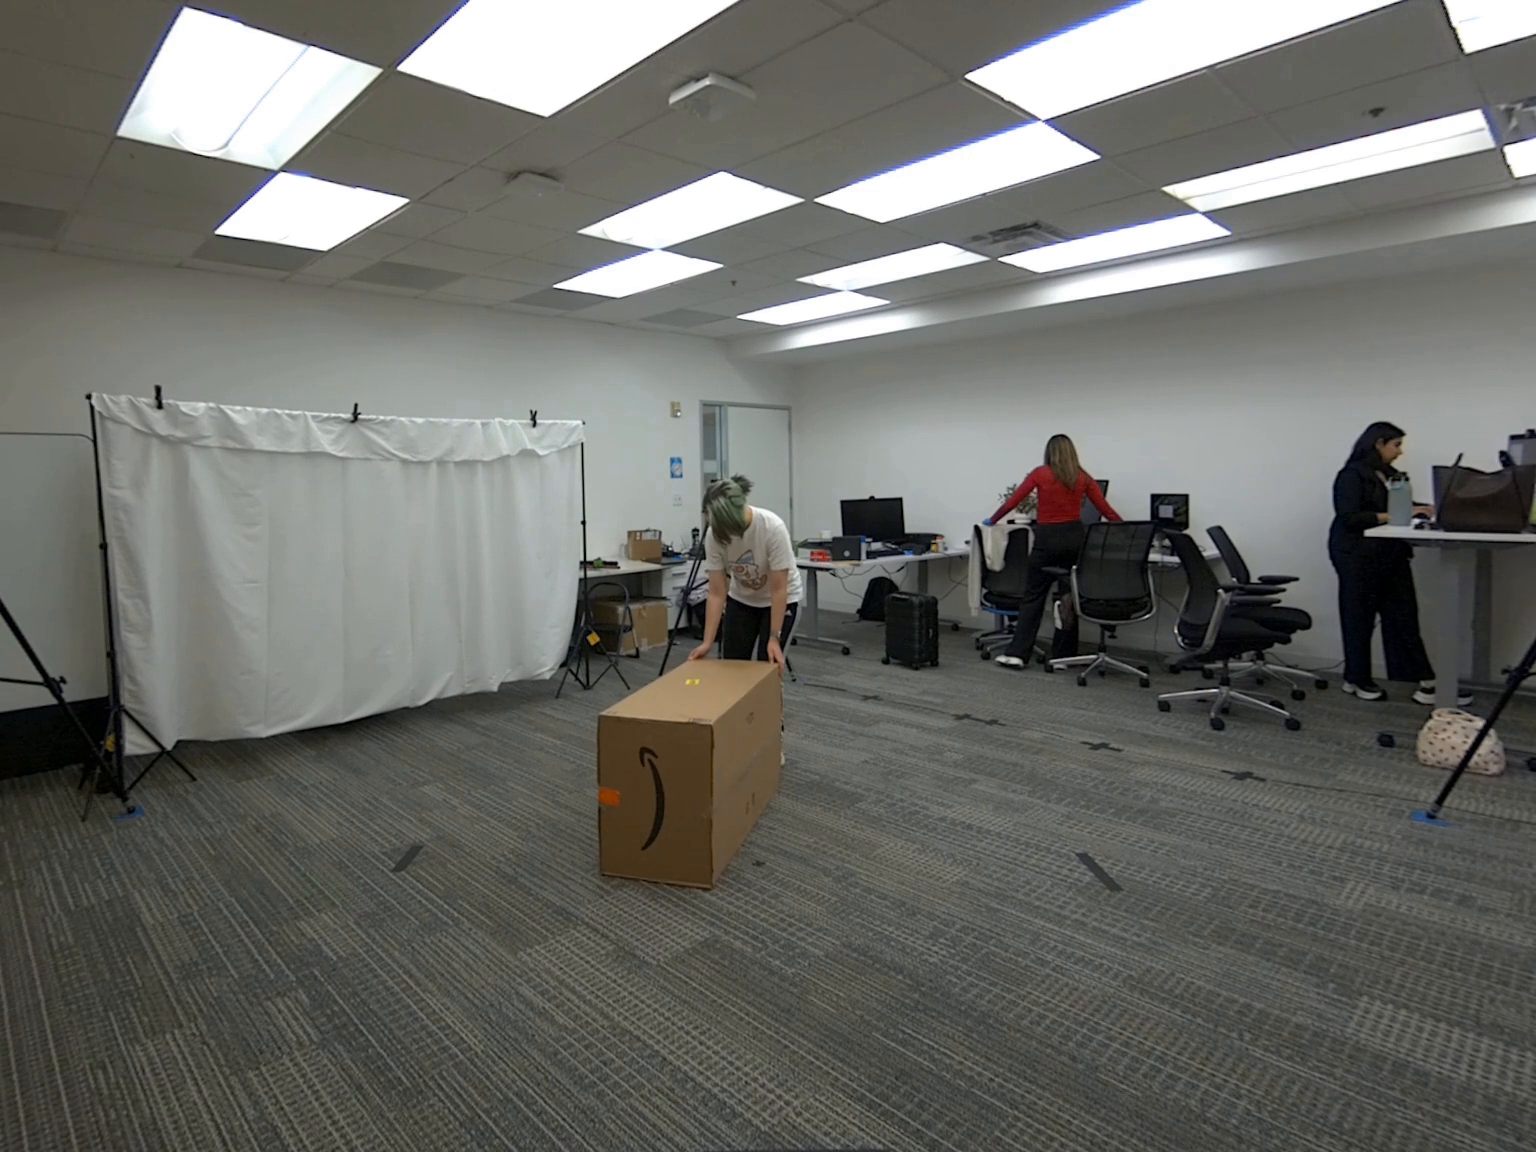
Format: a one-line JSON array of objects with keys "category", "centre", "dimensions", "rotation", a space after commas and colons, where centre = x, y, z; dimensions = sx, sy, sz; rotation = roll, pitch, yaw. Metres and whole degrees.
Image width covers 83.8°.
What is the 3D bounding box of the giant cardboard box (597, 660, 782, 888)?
[{"category": "giant cardboard box", "centre": [-0.274, 0.727, 3.445], "dimensions": [0.453, 0.582, 1.015], "rotation": [0, 5, 14]}]
